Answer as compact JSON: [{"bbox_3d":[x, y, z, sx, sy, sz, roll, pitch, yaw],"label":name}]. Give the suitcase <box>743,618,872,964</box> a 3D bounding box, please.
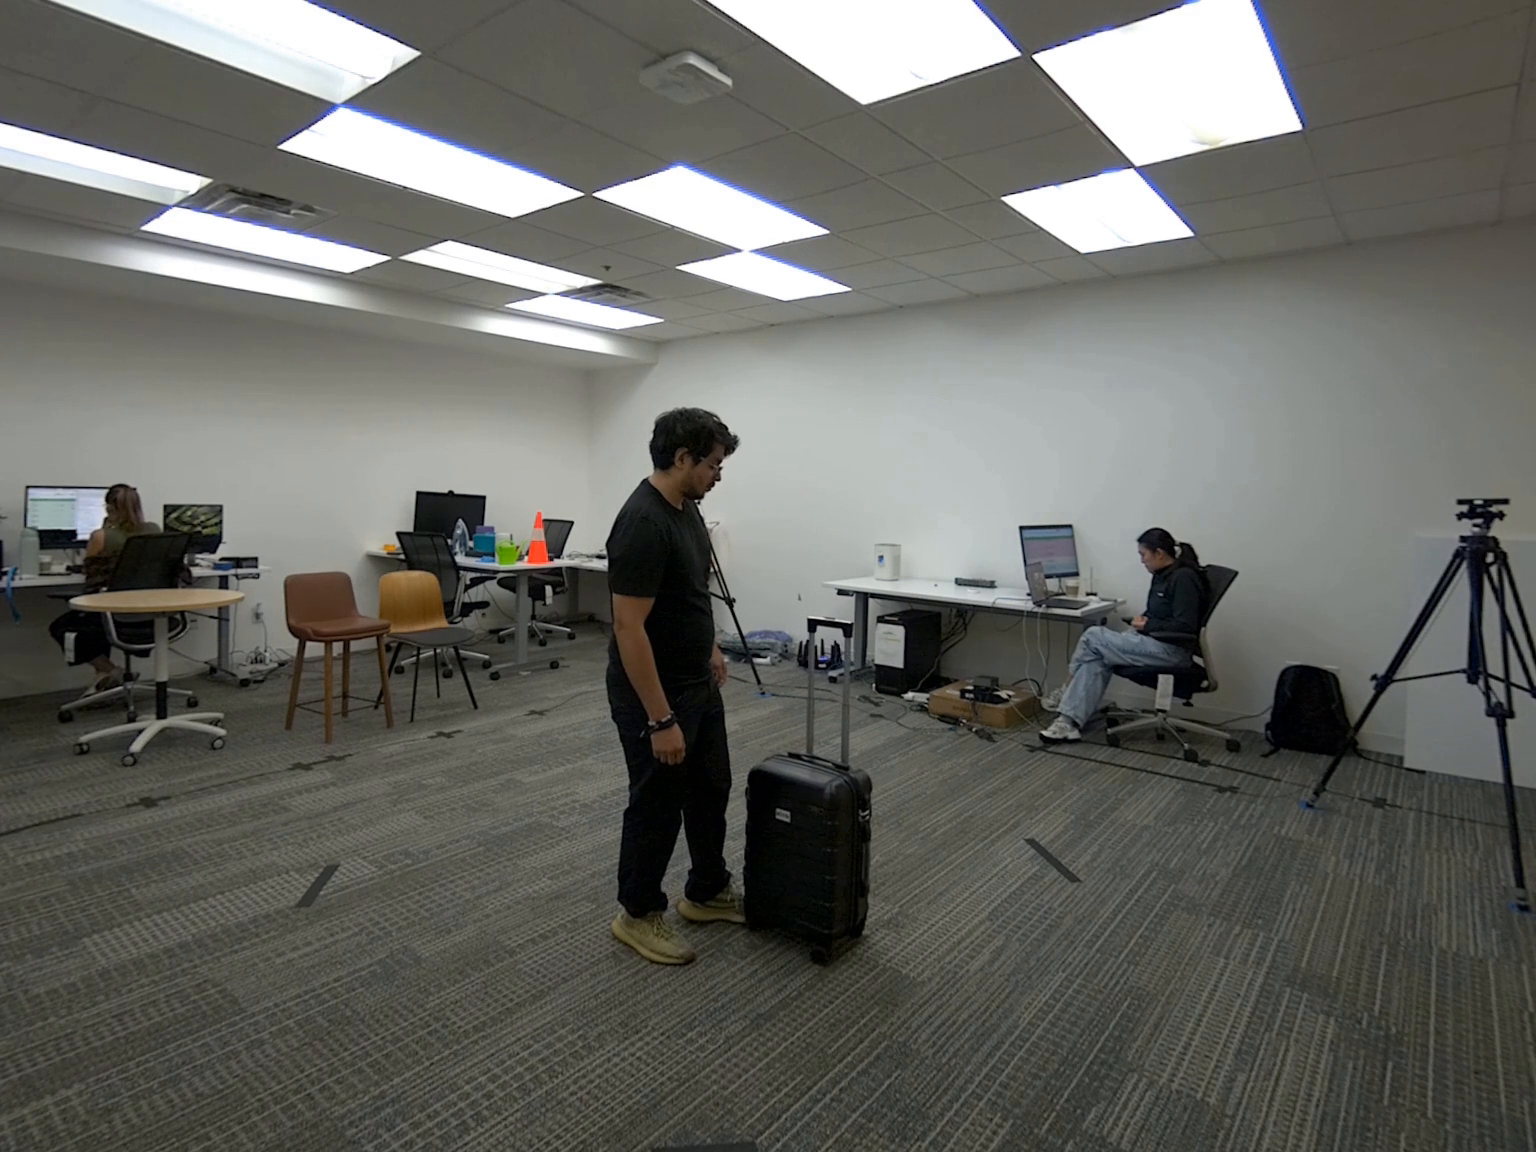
[{"bbox_3d":[0.123,0.645,2.638,0.396,0.974,0.250,5,6,36],"label":"suitcase"}]
